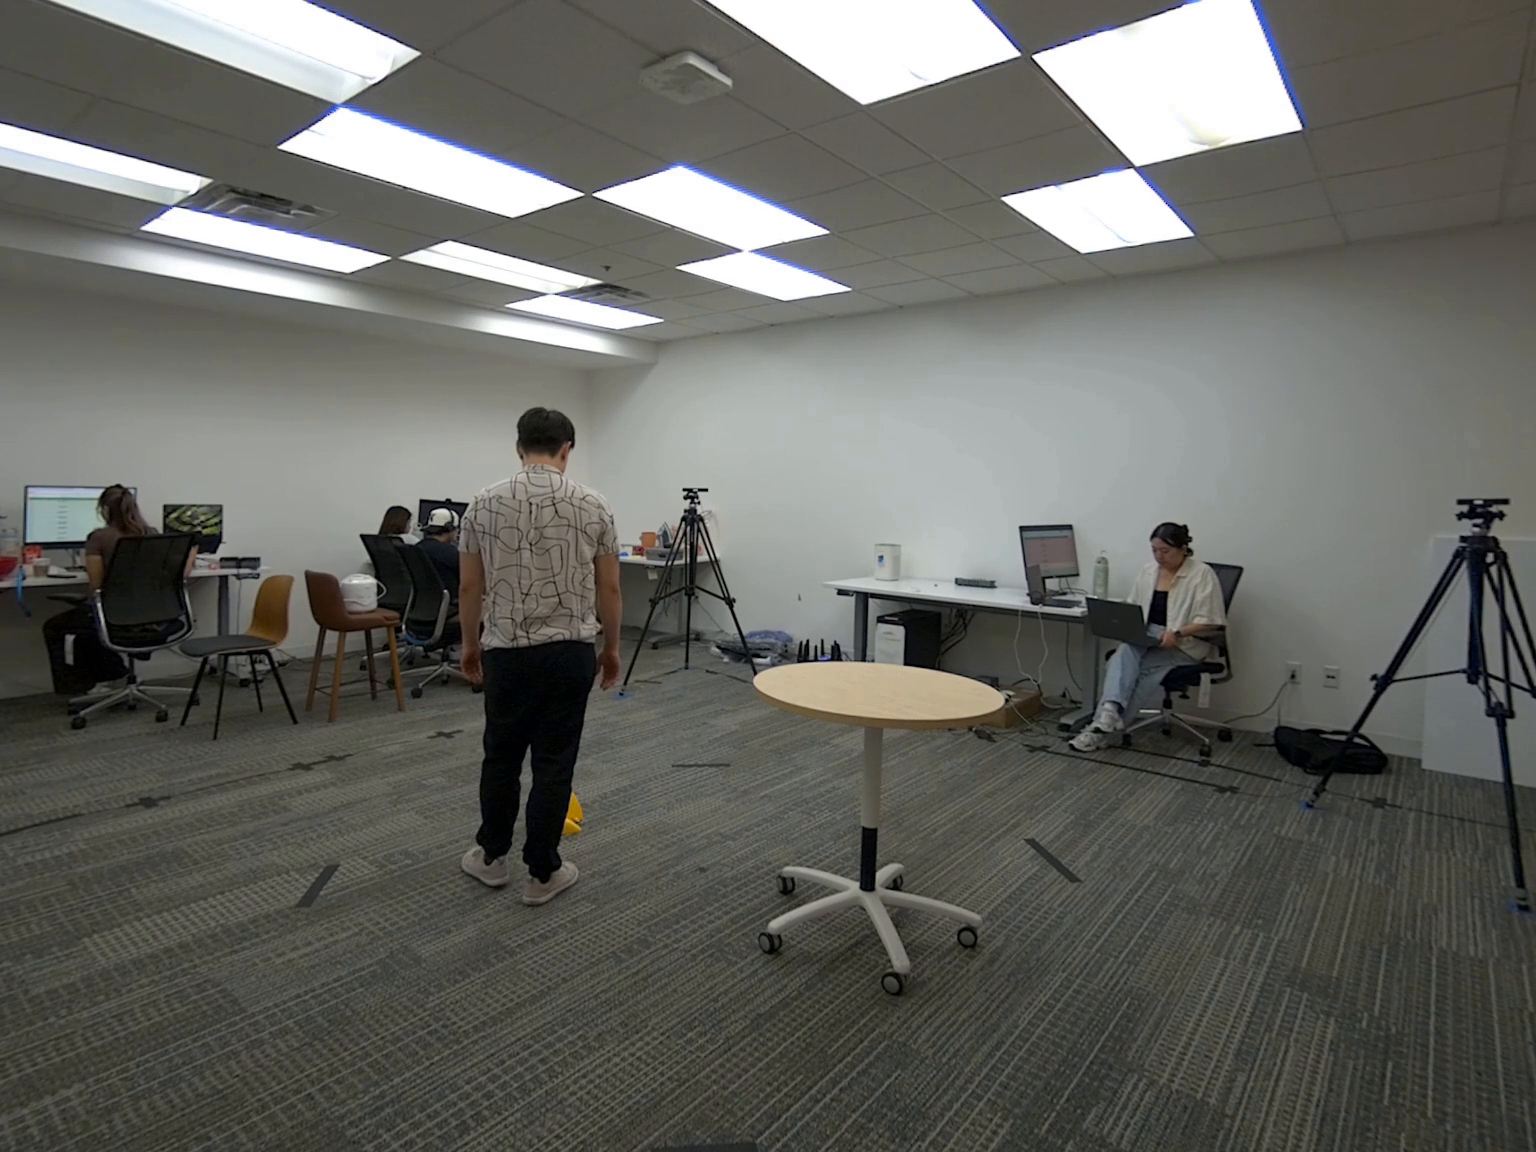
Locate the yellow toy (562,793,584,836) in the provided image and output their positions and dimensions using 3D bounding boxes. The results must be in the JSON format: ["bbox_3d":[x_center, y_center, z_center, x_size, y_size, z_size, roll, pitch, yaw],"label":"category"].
[{"bbox_3d":[-0.866,0.908,3.493,0.191,0.230,0.207,-1,4,-9],"label":"yellow toy"}]
